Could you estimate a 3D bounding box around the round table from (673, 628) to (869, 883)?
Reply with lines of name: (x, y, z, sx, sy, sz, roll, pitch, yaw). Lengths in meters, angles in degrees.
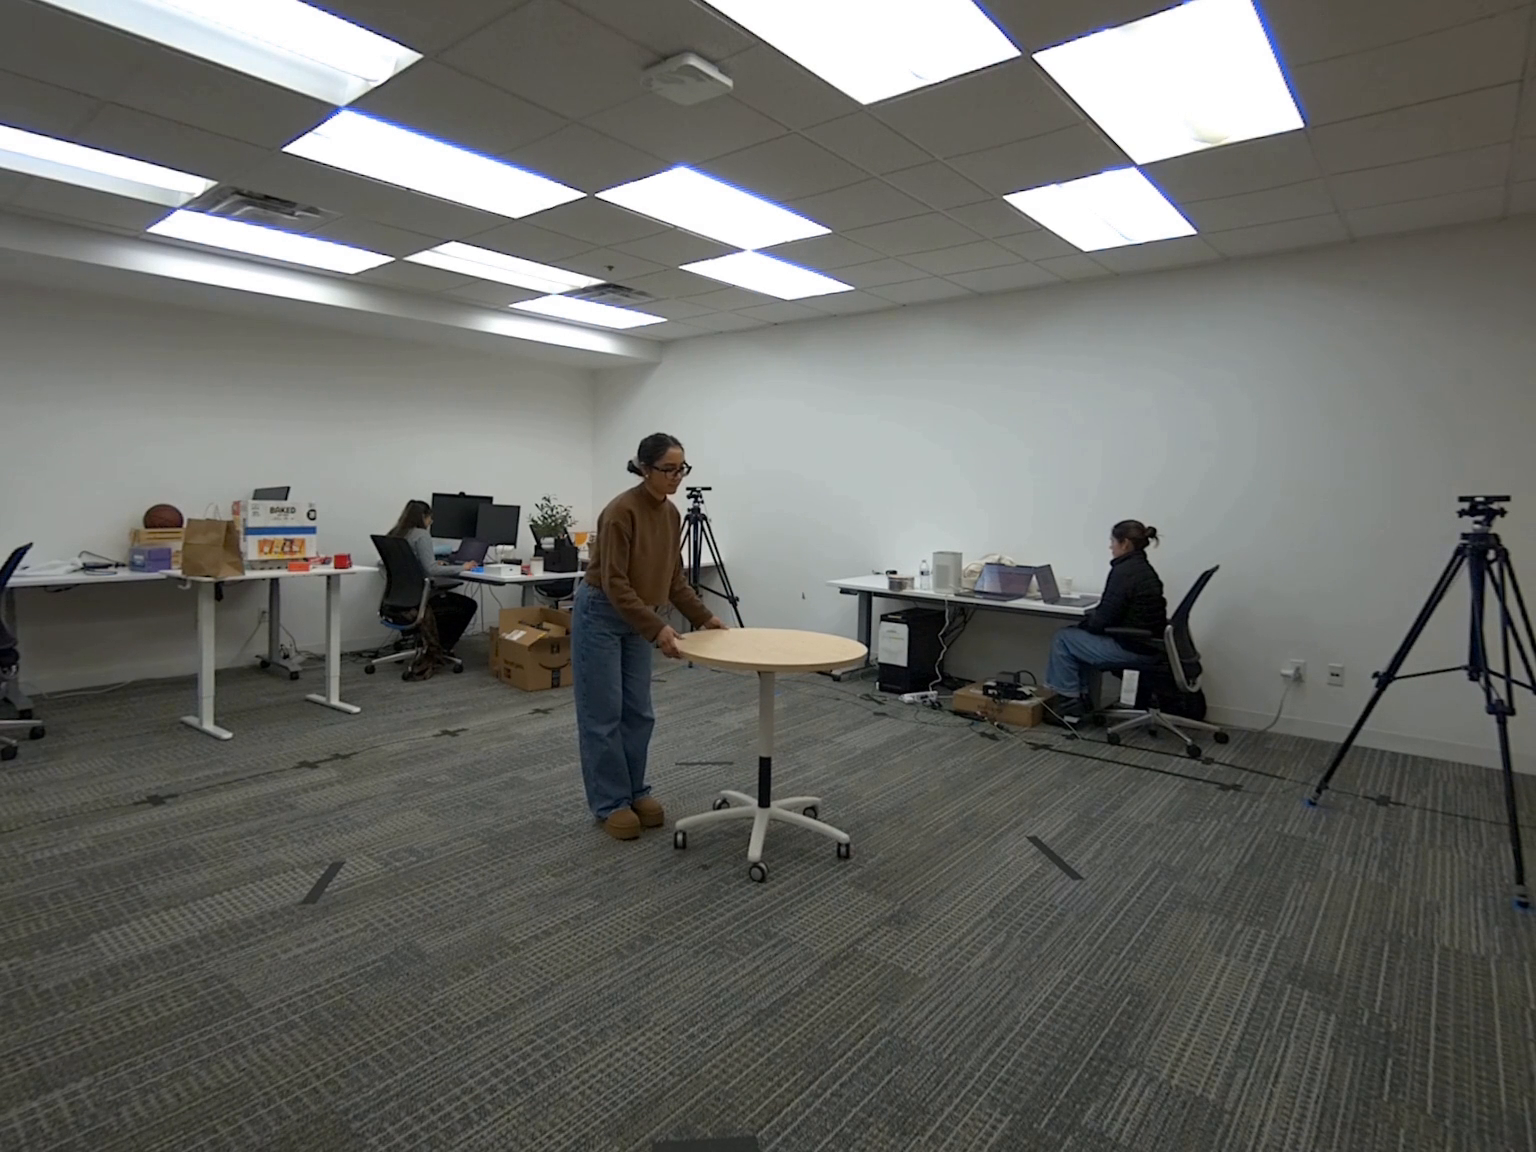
round table: (-0.025, 0.656, 3.332, 0.763, 0.791, 0.768, 1, 4, -2)
